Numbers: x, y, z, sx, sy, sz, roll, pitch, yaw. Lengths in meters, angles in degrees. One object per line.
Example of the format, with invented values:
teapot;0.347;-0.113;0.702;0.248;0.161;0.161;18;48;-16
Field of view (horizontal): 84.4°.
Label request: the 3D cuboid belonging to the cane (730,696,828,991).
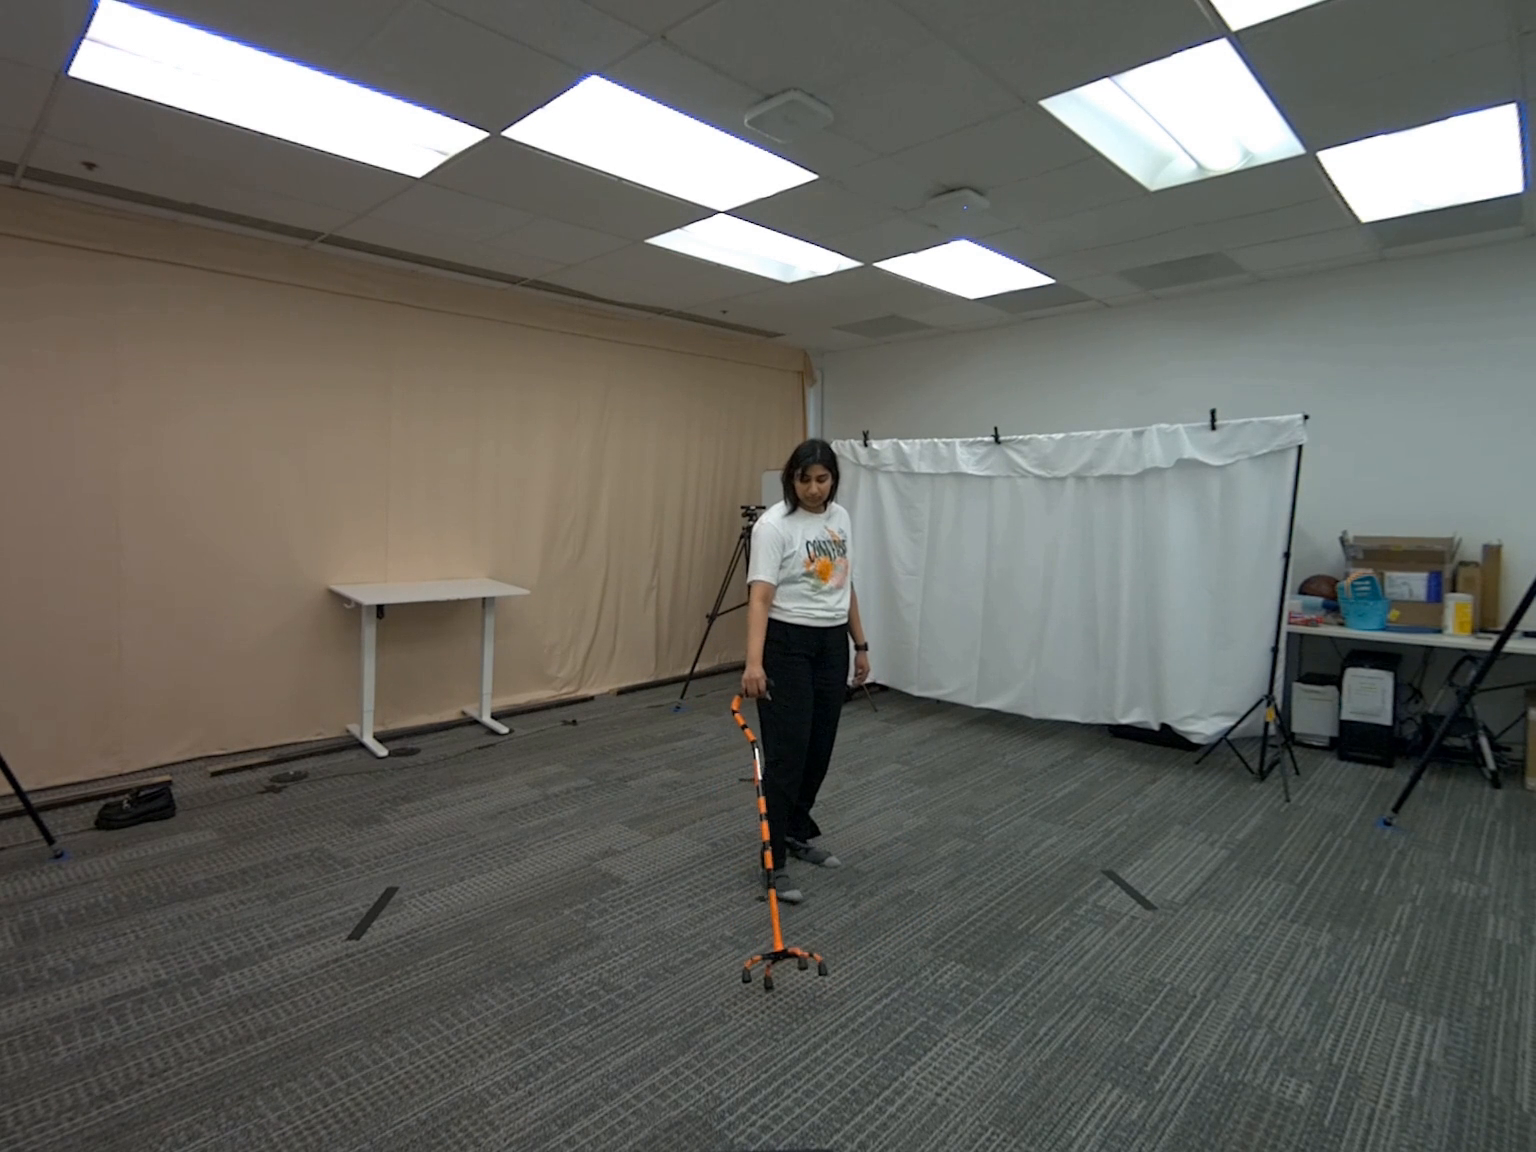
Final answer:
cane;0.002;0.754;2.619;0.209;0.928;0.146;-23;-39;19
